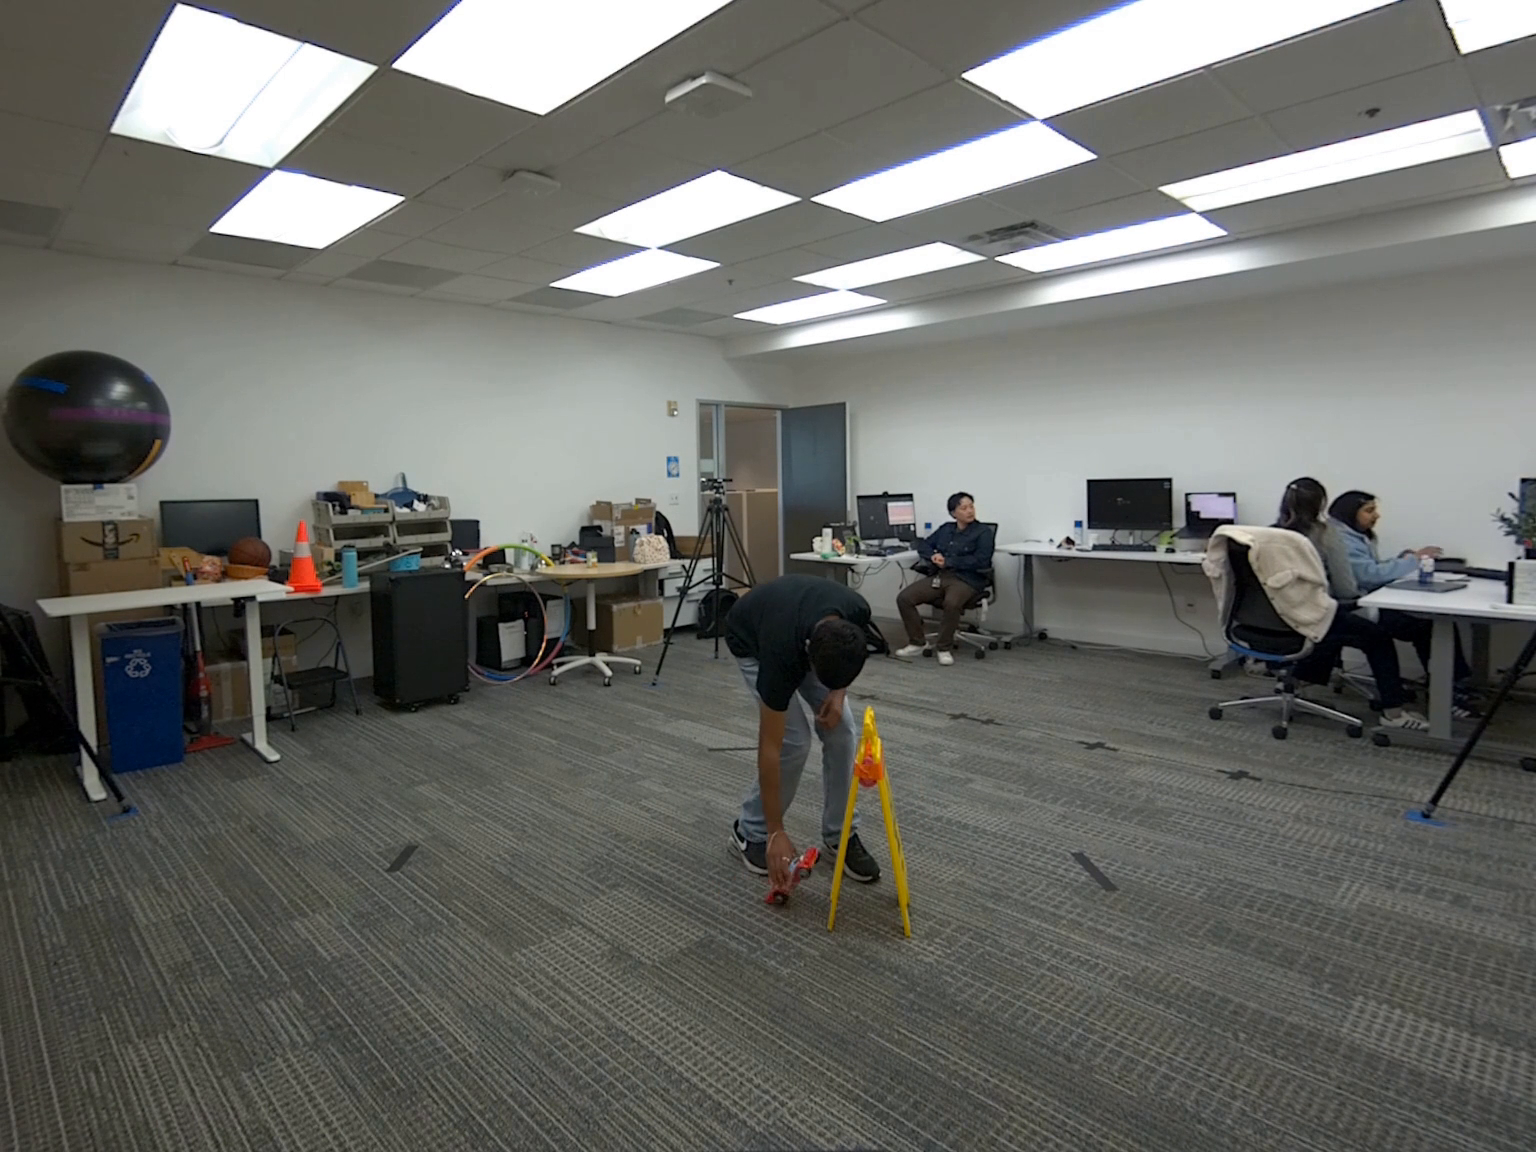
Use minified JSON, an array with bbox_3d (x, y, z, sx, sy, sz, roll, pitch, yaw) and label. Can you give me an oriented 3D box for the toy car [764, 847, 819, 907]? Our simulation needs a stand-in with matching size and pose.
[{"bbox_3d":[0.090,0.992,2.781,0.255,0.084,0.129,-43,-6,30],"label":"toy car"}]
